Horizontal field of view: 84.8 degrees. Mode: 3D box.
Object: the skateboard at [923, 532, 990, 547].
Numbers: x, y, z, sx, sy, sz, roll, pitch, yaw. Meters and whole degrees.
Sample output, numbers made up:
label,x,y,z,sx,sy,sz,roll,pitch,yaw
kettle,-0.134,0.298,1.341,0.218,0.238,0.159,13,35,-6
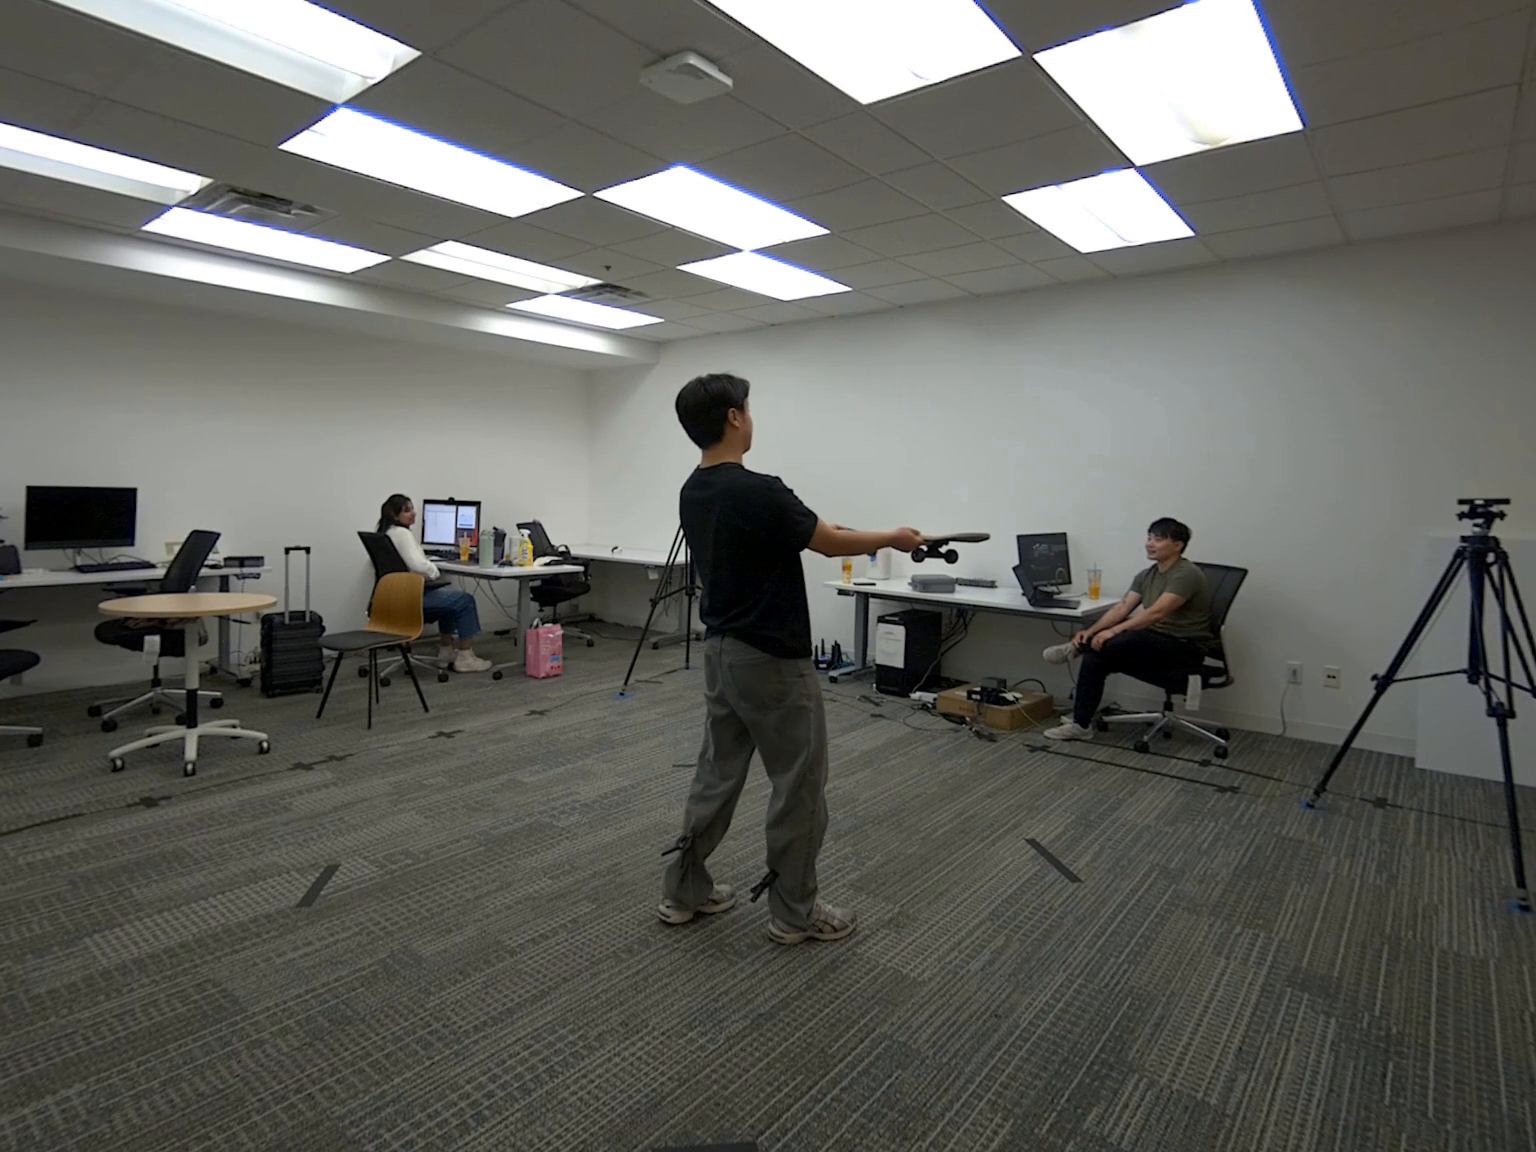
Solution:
label,x,y,z,sx,sy,sz,roll,pitch,yaw
skateboard,0.440,-0.108,2.964,0.187,0.110,0.811,2,4,-34
